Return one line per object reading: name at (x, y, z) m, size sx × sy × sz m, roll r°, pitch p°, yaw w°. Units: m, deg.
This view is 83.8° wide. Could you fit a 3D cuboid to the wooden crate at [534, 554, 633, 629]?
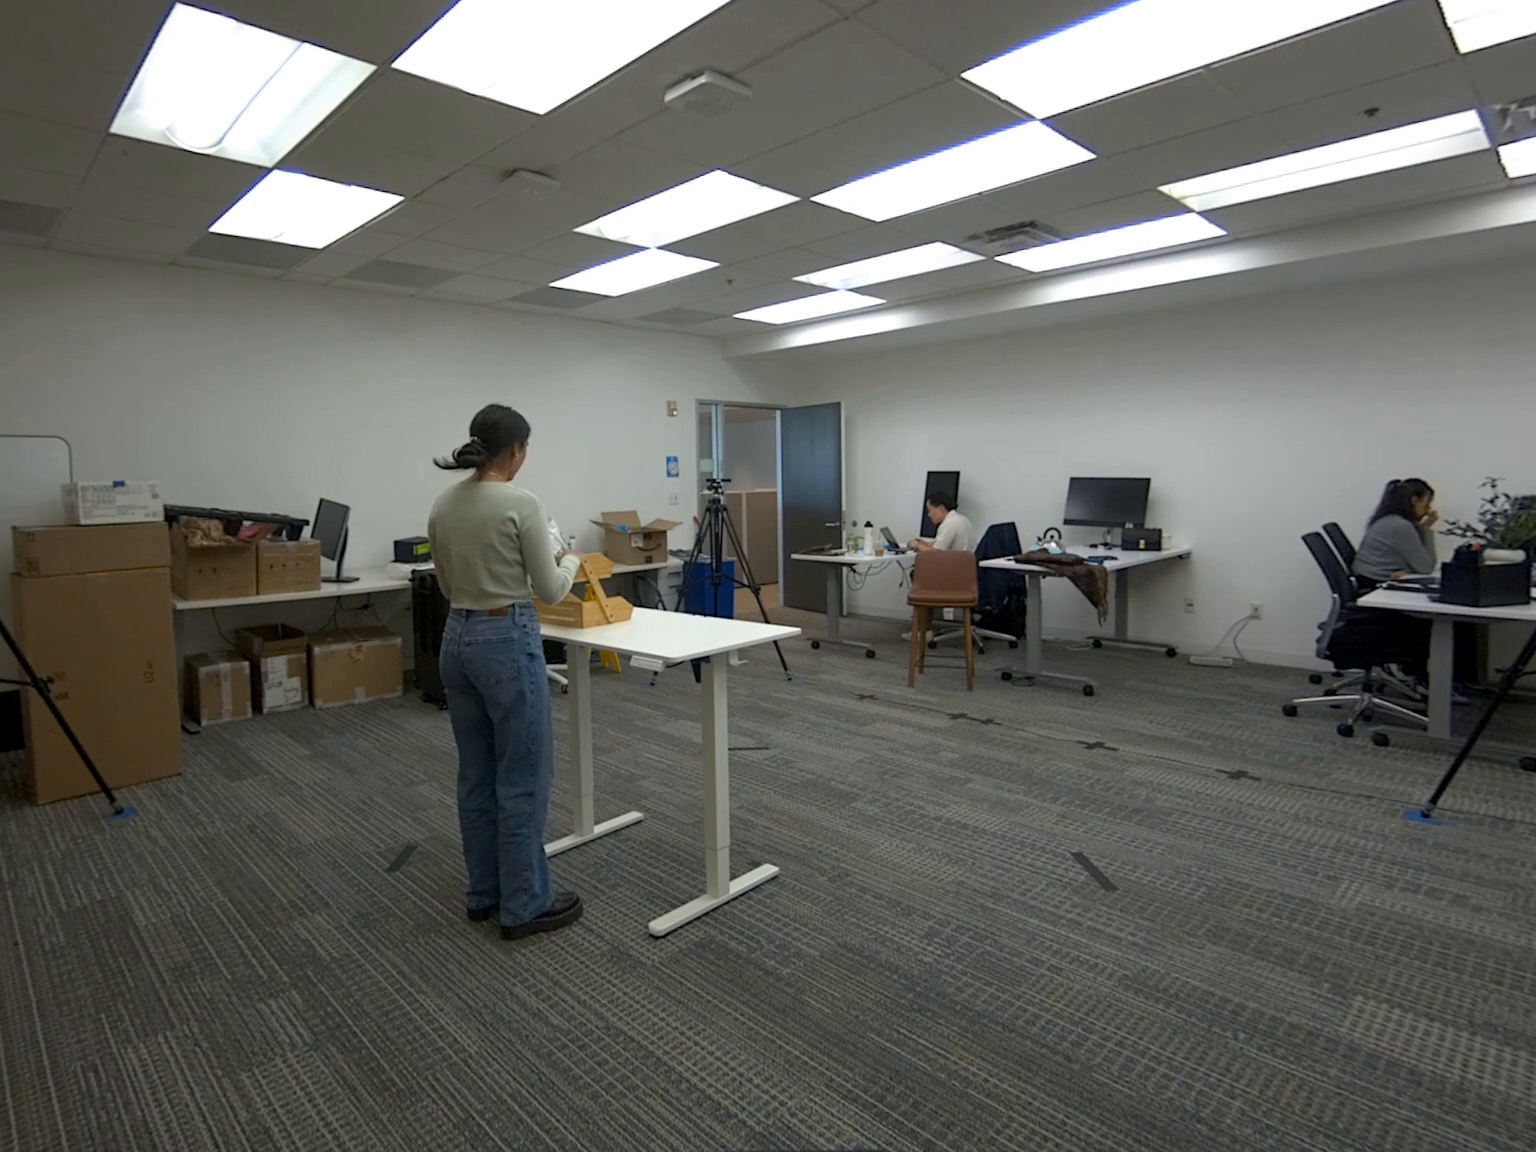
wooden crate at (-0.717, 0.039, 3.166) m, size 0.334 × 0.272 × 0.294 m, roll 2°, pitch 6°, yaw 38°
